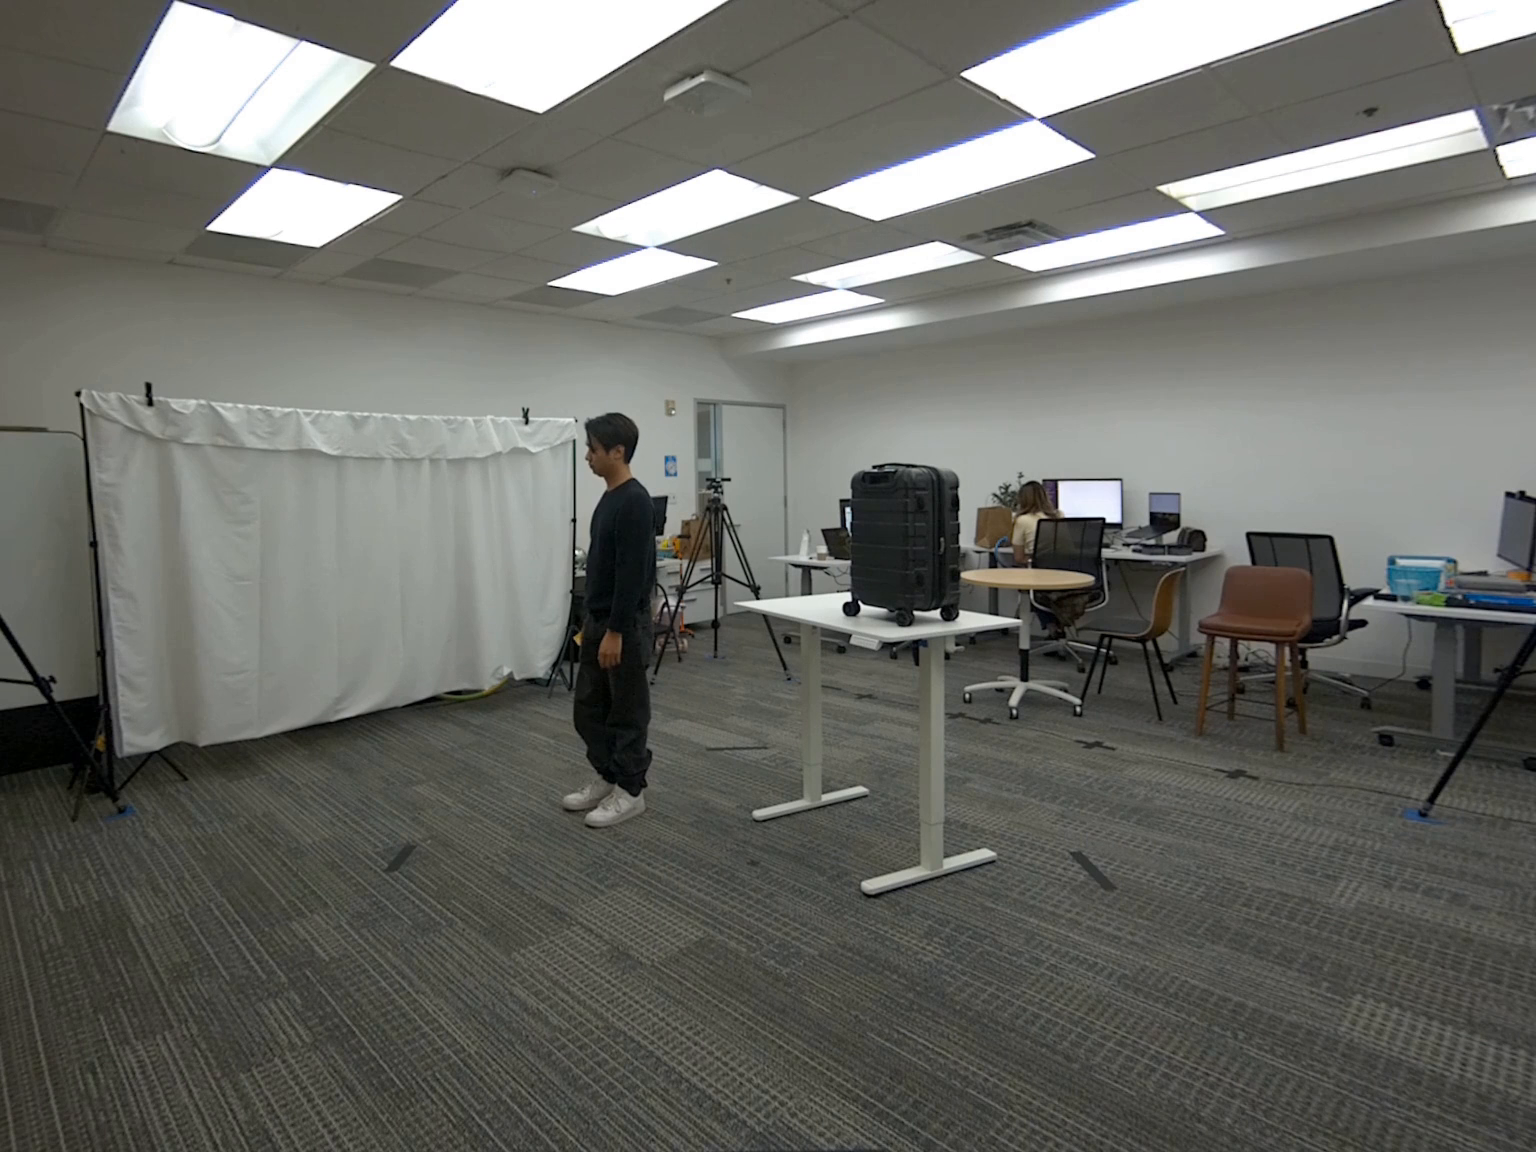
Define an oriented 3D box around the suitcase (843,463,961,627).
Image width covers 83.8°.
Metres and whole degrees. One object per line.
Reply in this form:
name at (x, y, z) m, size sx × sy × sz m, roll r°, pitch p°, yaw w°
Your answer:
suitcase at (0.479, -0.123, 3.039) m, size 0.242 × 0.548 × 0.386 m, roll -2°, pitch 4°, yaw -31°
